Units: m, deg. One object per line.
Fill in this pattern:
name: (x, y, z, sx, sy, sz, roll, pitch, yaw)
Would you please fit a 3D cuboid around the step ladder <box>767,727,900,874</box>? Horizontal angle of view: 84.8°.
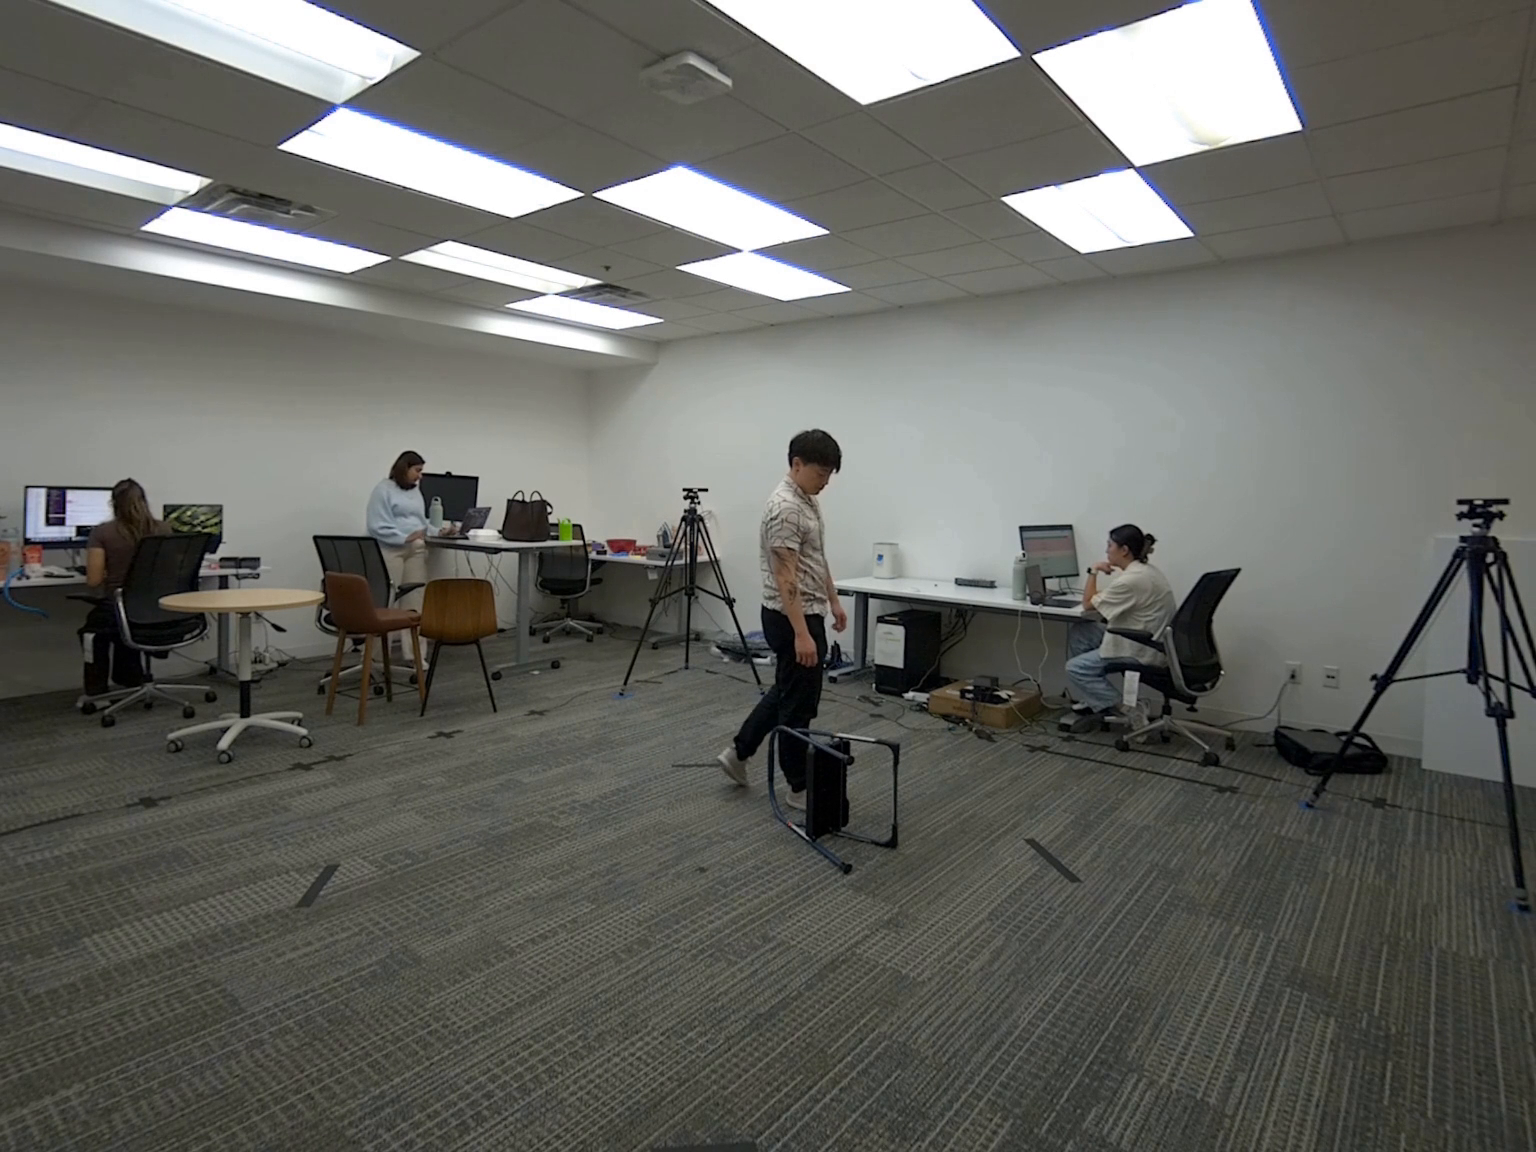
step ladder: (0.174, 0.839, 3.425, 0.627, 0.430, 0.338, 5, 4, 43)
